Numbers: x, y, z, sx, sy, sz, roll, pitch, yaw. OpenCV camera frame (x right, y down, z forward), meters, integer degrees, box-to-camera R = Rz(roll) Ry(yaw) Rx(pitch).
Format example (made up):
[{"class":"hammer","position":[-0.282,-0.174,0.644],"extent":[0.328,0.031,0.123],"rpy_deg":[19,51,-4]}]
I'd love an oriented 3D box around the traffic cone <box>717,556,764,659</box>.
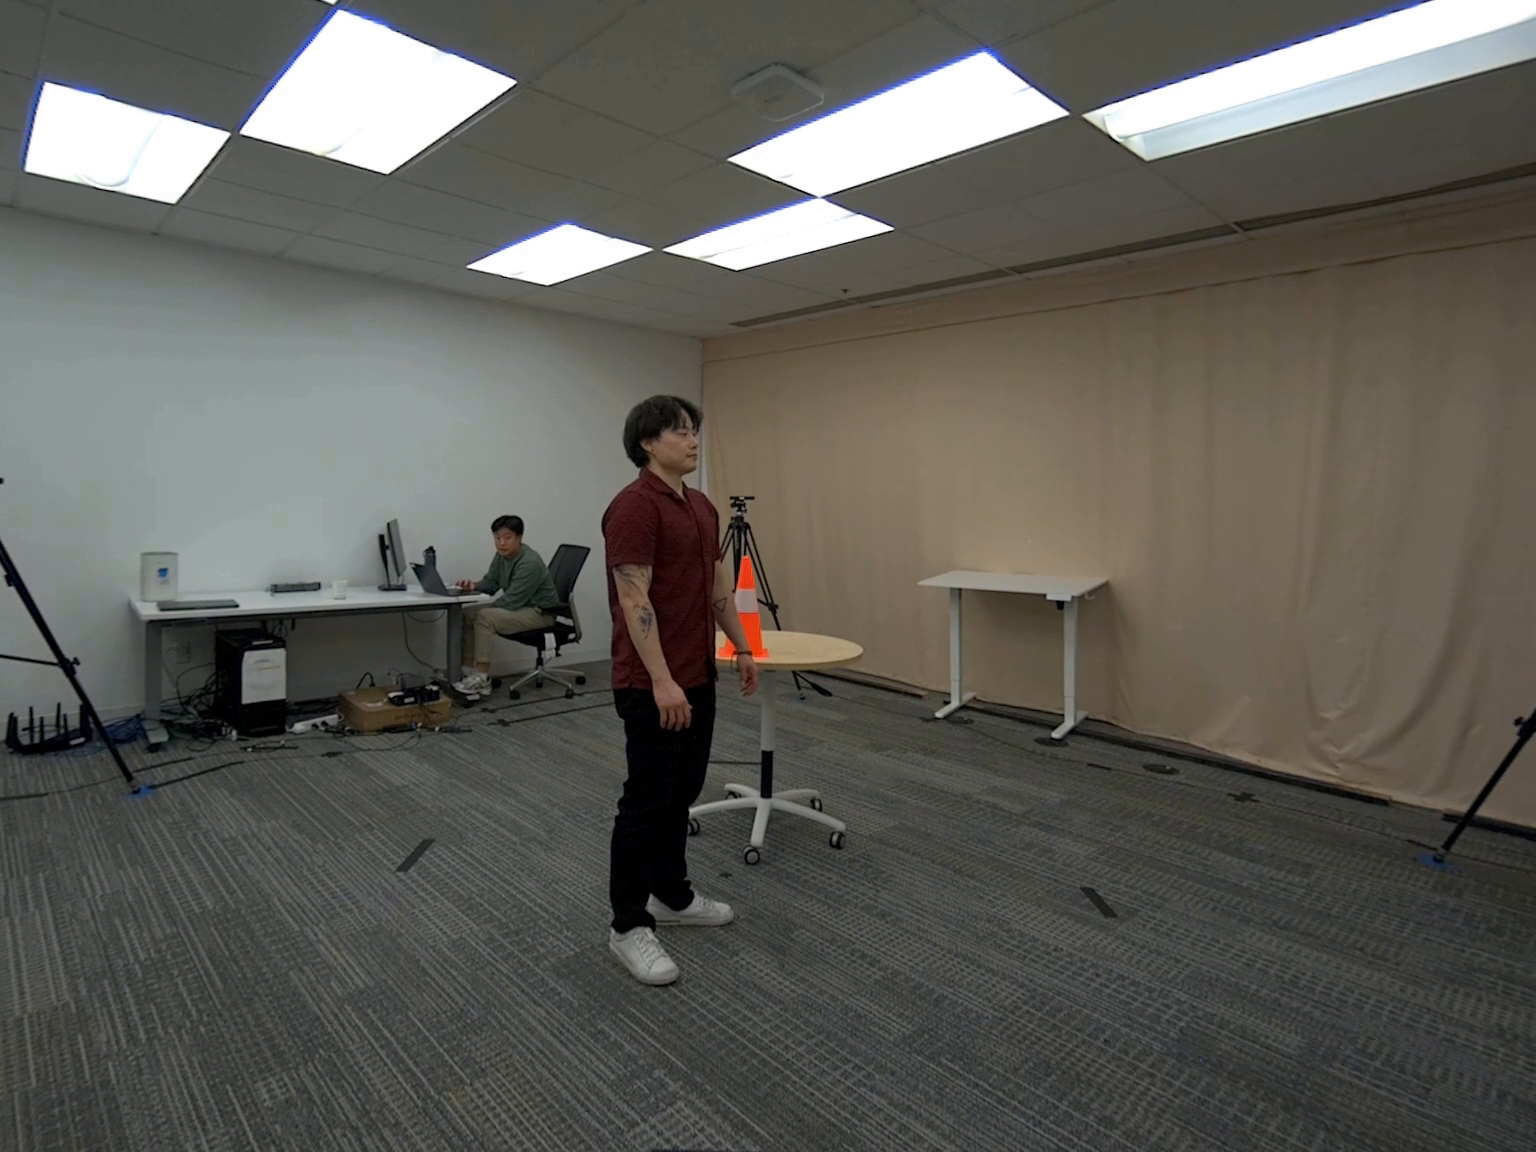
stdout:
[{"class":"traffic cone","position":[-0.100,0.114,3.299],"extent":[0.201,0.381,0.208],"rpy_deg":[-2,9,-15]}]
